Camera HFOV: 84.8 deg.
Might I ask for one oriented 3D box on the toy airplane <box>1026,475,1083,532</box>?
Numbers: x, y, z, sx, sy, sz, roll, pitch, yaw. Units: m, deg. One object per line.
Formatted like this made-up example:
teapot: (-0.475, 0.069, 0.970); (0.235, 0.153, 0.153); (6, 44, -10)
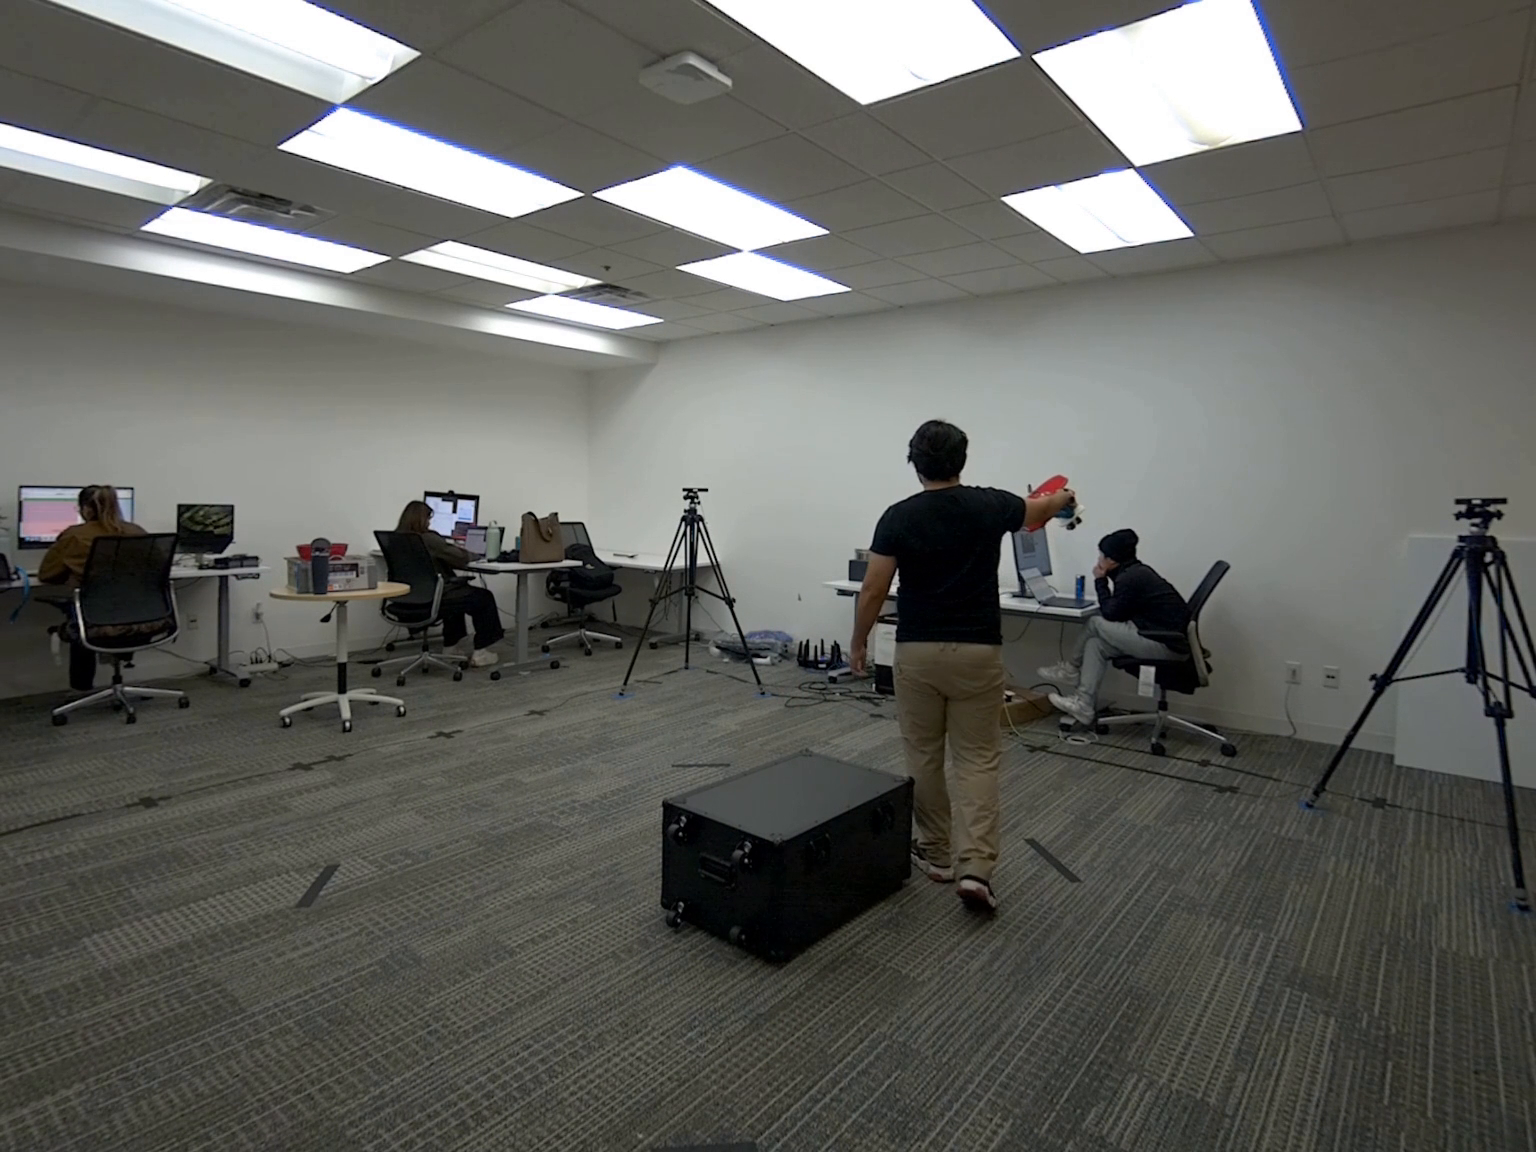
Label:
toy airplane: (1.166, -0.289, 3.452); (0.265, 0.153, 0.251); (-14, 32, 55)
